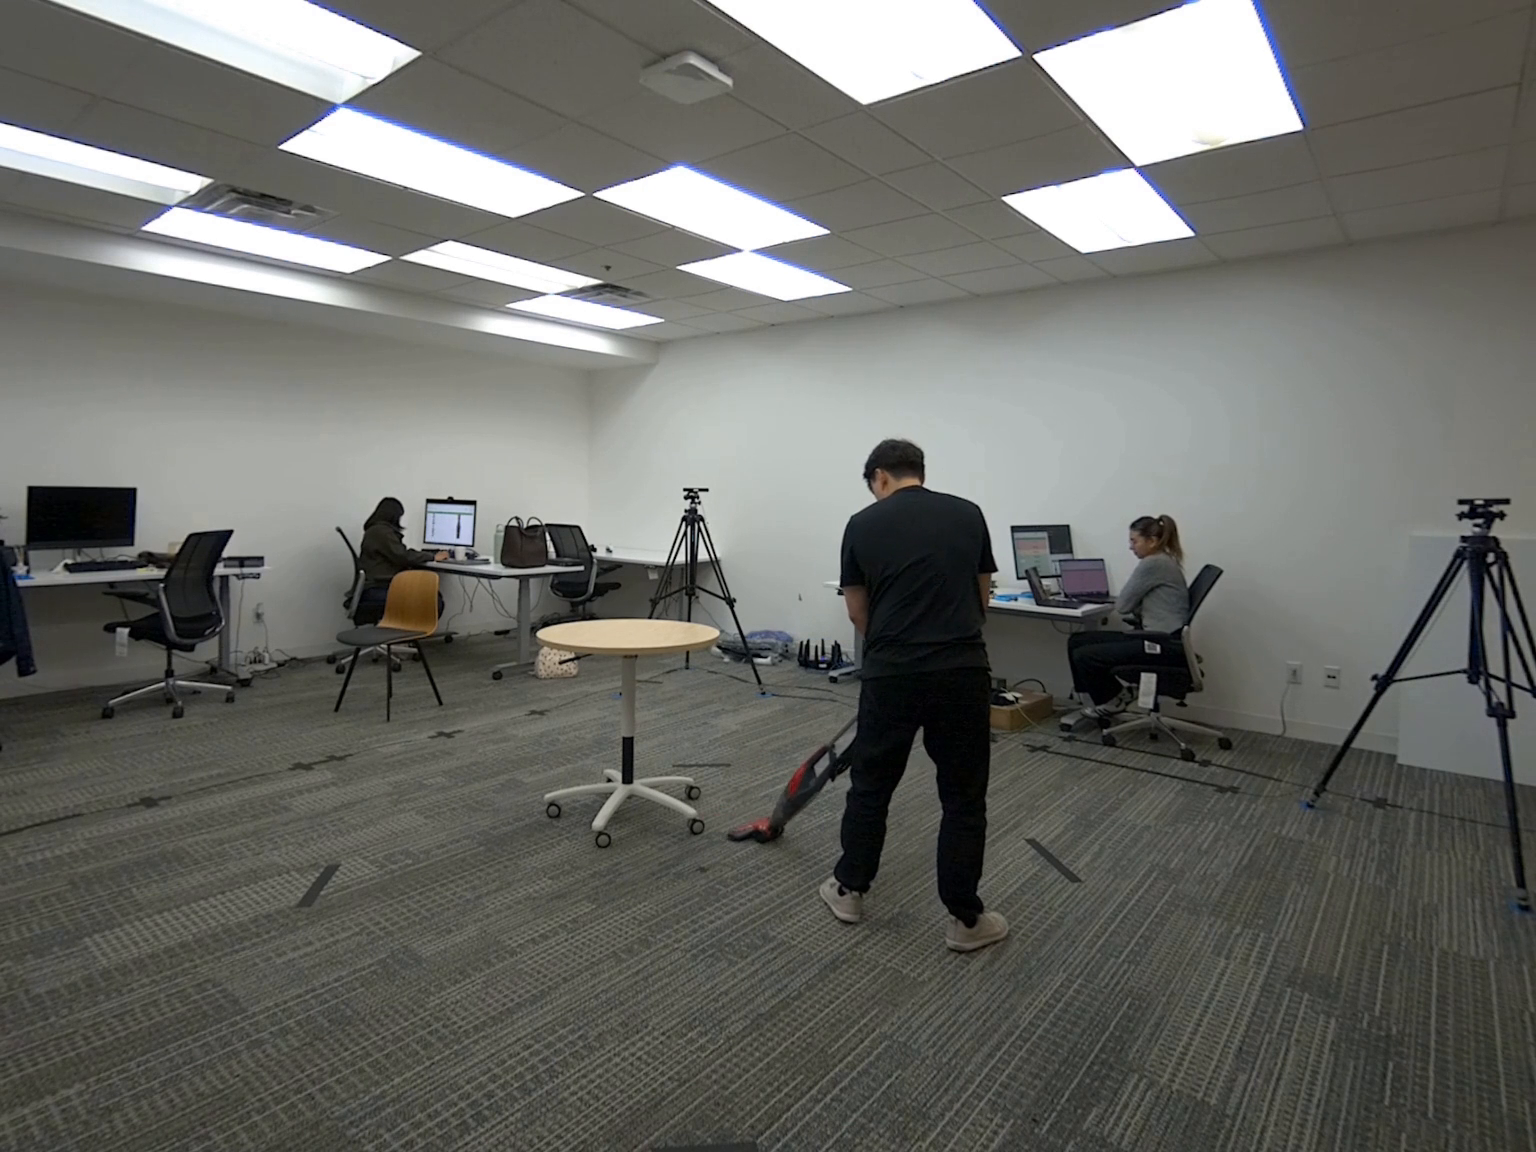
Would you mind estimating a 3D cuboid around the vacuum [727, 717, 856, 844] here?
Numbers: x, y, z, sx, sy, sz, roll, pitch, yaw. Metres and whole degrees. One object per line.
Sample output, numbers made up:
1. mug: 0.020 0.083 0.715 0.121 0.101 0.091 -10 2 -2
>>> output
1. vacuum: 0.236 0.677 3.188 0.148 1.046 0.246 51 31 21
